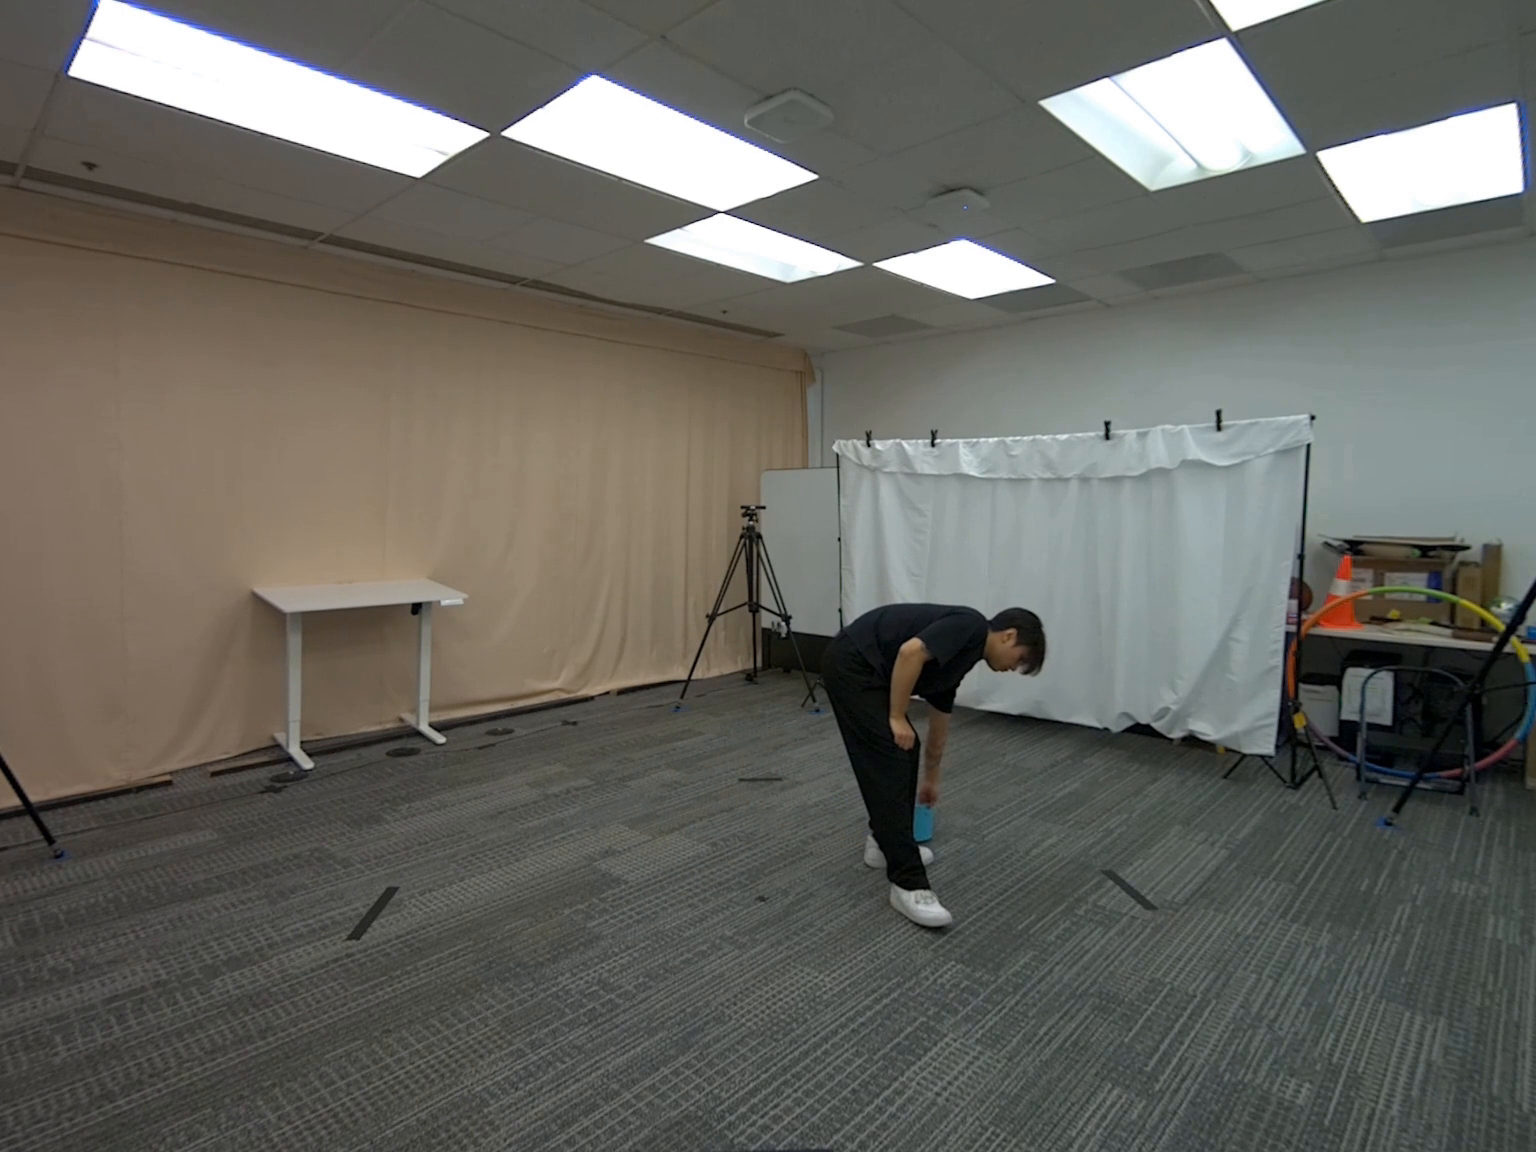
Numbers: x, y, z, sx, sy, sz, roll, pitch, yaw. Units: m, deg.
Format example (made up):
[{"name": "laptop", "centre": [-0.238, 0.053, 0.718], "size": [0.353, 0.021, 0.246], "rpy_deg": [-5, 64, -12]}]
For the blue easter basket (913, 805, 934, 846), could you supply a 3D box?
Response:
[{"name": "blue easter basket", "centre": [0.595, 1.012, 3.542], "size": [0.243, 0.156, 0.244], "rpy_deg": [-3, 0, -2]}]
